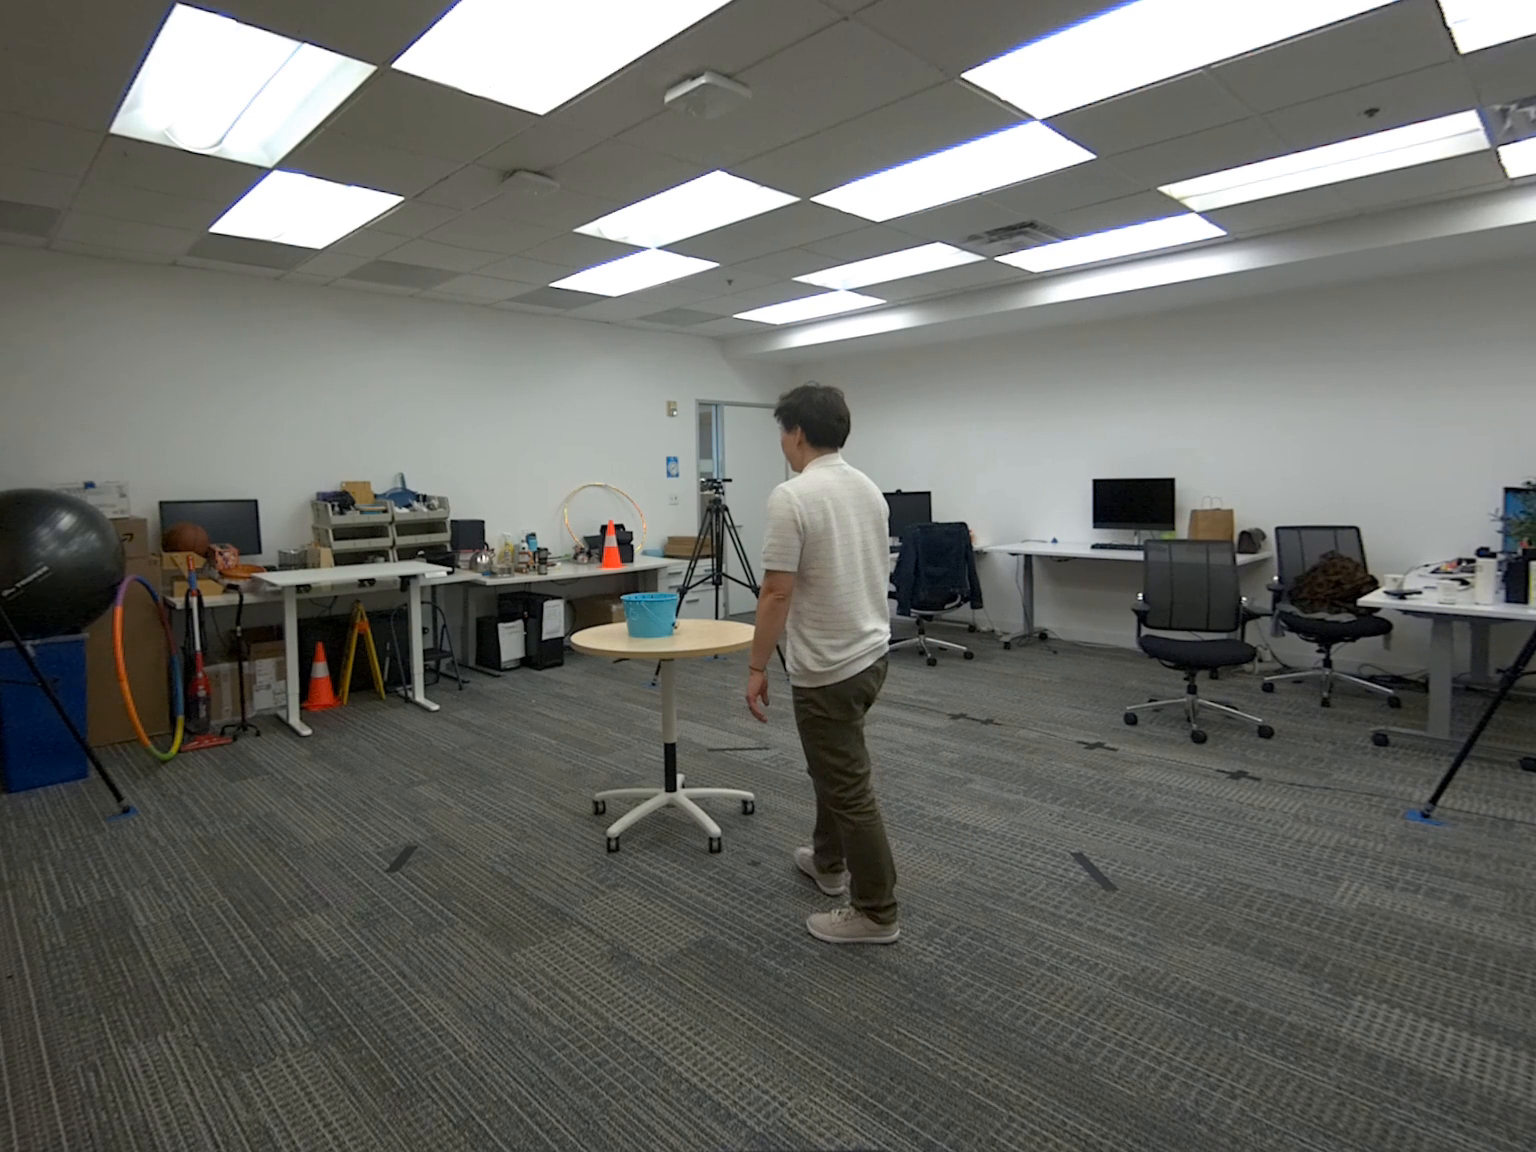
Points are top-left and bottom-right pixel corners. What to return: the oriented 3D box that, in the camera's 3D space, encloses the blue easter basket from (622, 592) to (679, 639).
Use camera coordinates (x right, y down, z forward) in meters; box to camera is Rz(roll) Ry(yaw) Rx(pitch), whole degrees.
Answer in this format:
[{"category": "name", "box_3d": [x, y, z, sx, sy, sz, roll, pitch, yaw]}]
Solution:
[{"category": "blue easter basket", "box_3d": [-0.471, 0.159, 3.426, 0.243, 0.155, 0.245, -2, 5, -2]}]
